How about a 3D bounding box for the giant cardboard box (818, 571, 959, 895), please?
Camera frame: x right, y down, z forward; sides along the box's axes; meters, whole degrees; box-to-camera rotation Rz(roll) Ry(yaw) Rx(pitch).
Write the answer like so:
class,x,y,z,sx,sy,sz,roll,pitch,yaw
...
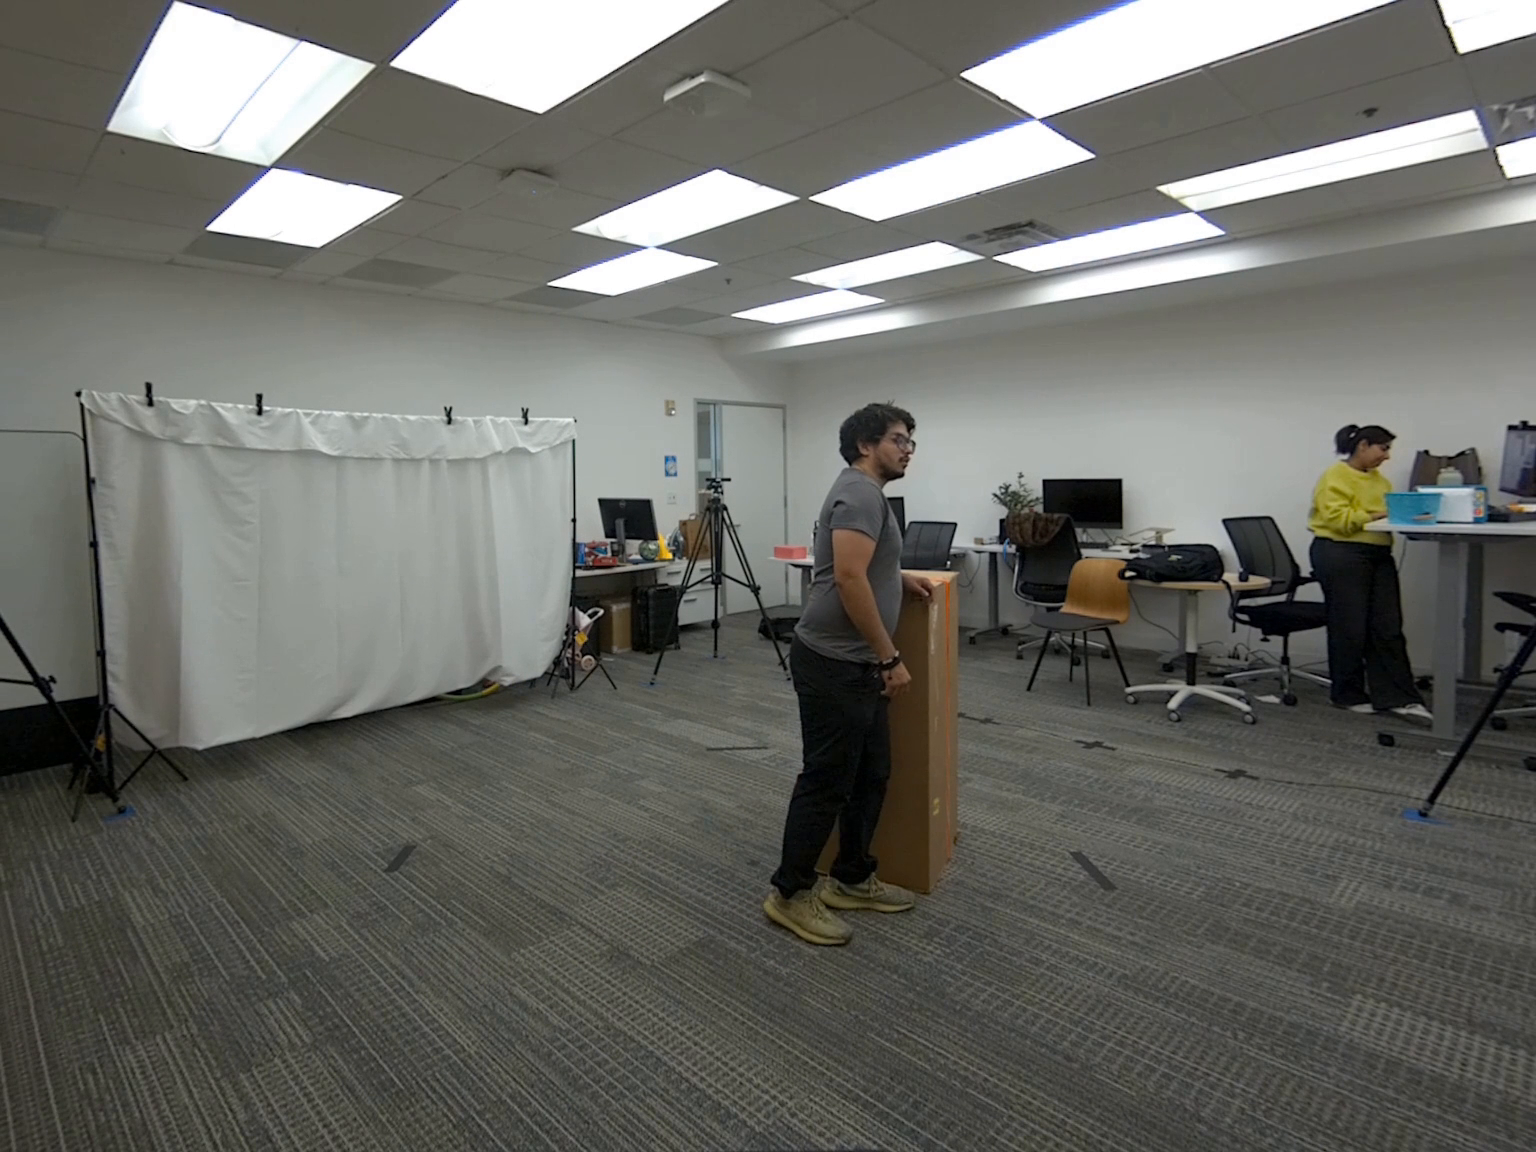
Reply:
class,x,y,z,sx,sy,sz,roll,pitch,yaw
giant cardboard box,0.456,0.515,3.167,0.436,1.023,0.566,1,4,24
